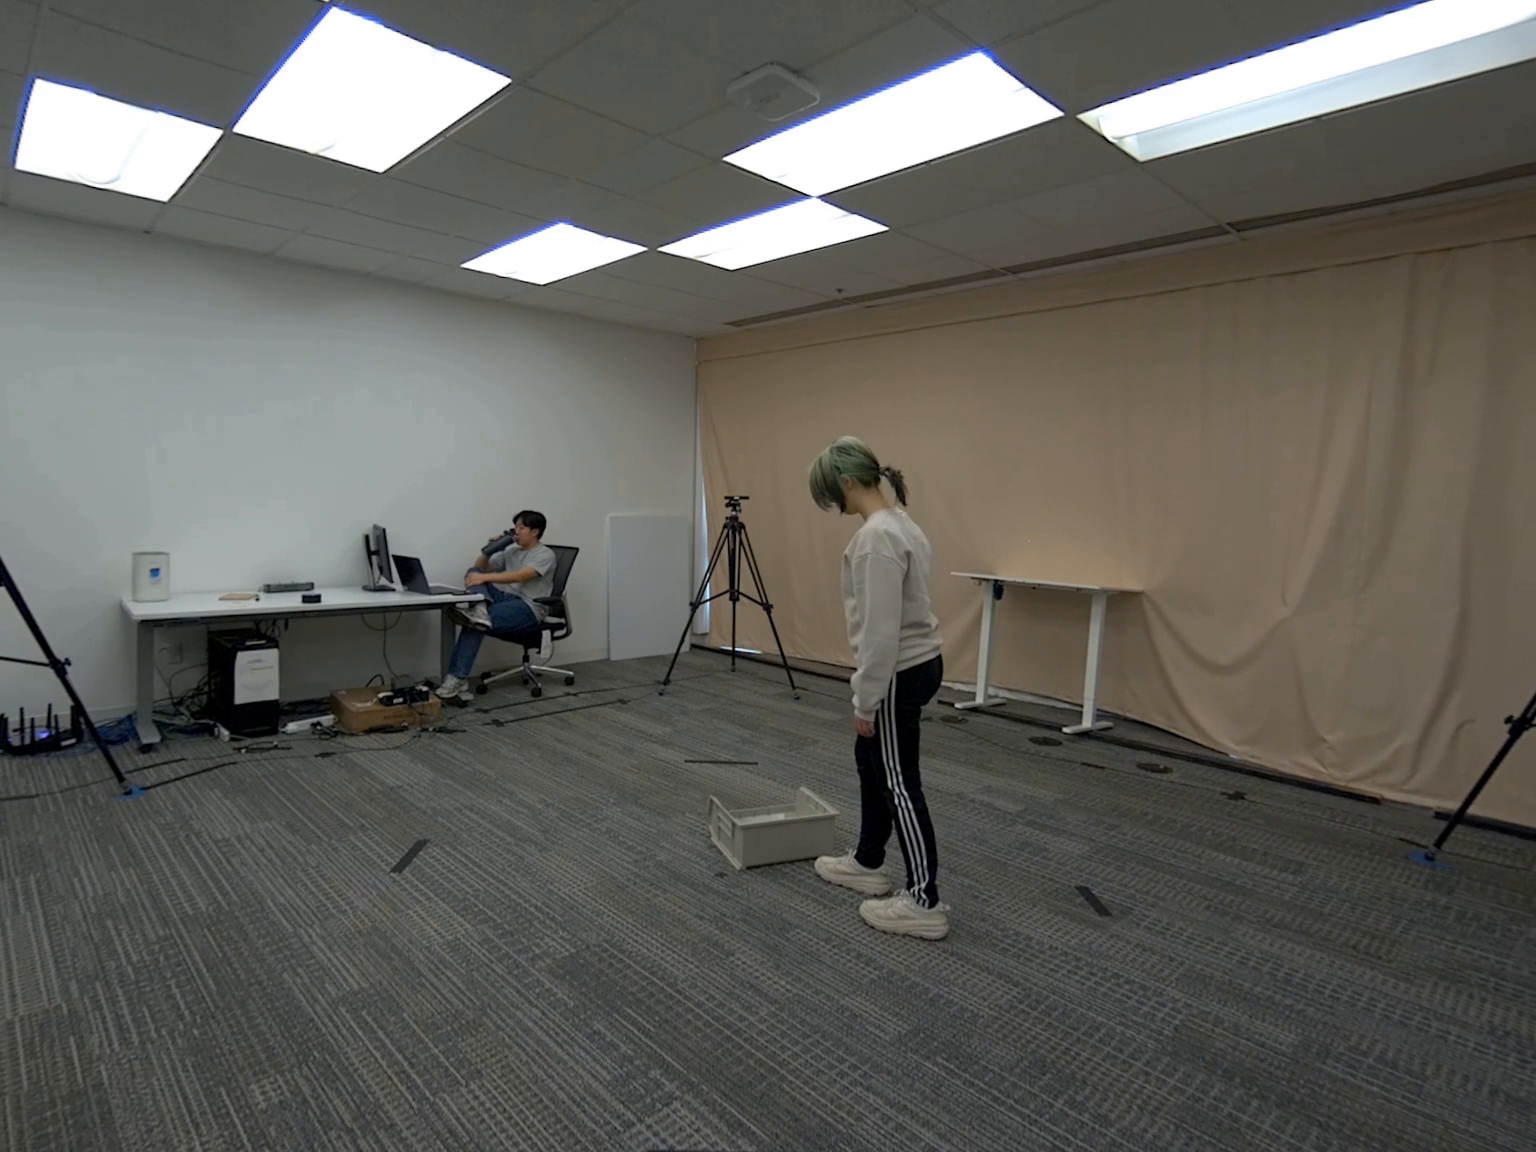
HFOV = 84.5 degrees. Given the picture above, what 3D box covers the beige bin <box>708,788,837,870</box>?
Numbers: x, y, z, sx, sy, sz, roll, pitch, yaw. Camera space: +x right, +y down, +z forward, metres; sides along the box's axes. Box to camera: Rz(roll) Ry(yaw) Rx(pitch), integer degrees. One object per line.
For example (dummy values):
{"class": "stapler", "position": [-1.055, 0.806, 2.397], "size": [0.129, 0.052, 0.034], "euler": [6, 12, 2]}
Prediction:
{"class": "beige bin", "position": [0.004, 0.996, 3.374], "size": [0.415, 0.188, 0.385], "euler": [0, 5, -22]}
